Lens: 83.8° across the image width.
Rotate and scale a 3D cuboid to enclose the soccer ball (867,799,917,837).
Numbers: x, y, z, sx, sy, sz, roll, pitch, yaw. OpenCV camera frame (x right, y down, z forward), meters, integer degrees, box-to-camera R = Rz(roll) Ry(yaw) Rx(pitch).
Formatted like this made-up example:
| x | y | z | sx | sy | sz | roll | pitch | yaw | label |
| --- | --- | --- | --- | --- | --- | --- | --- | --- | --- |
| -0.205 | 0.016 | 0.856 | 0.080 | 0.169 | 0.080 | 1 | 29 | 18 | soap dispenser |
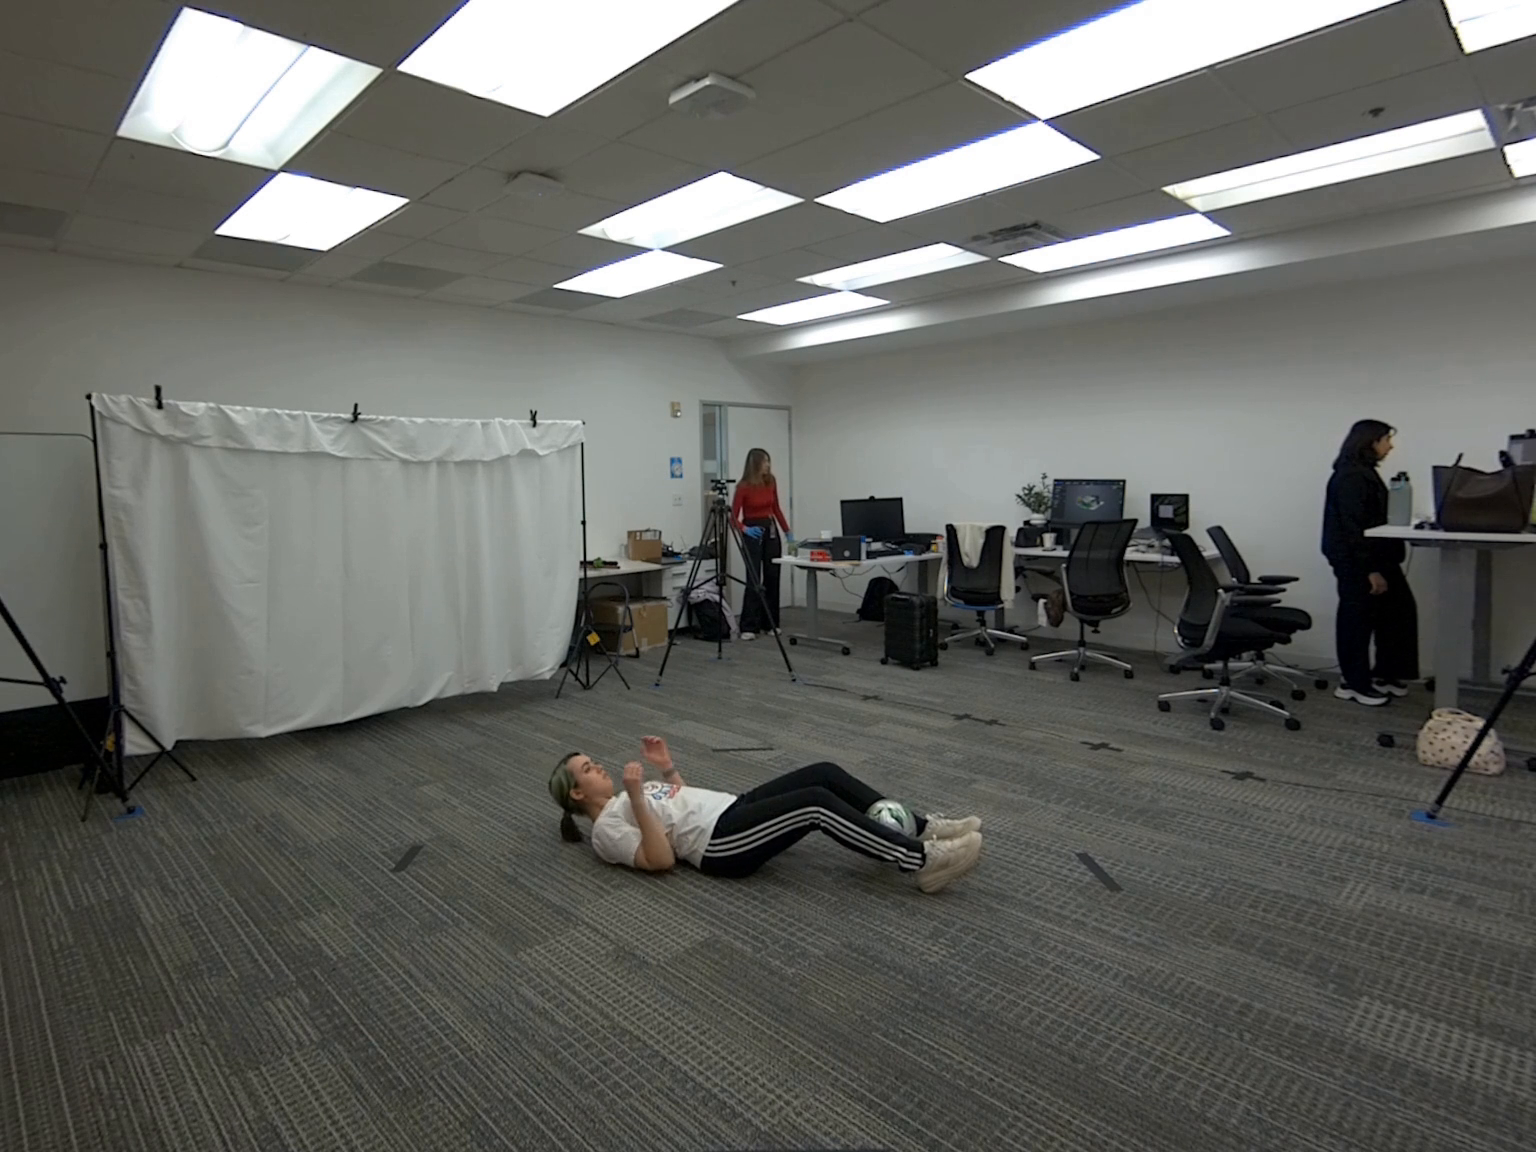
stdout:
| x | y | z | sx | sy | sz | roll | pitch | yaw | label |
| --- | --- | --- | --- | --- | --- | --- | --- | --- | --- |
| 0.415 | 0.883 | 3.019 | 0.187 | 0.187 | 0.188 | -1 | 5 | -2 | soccer ball |
